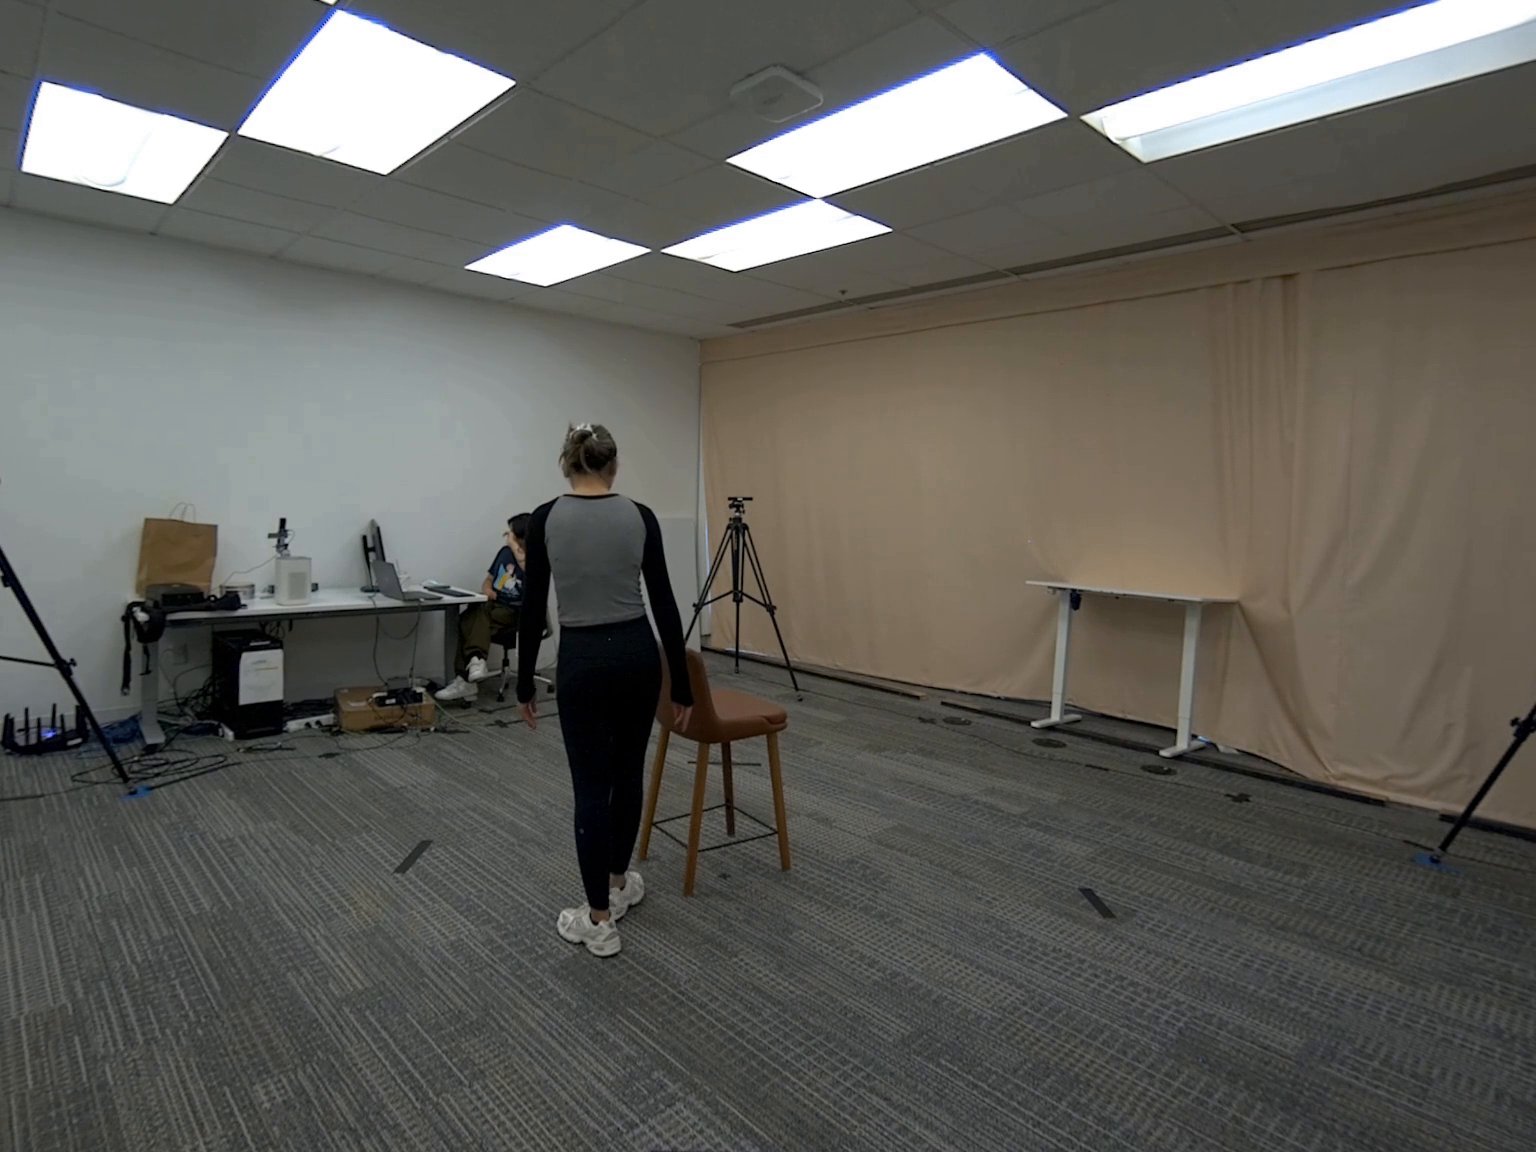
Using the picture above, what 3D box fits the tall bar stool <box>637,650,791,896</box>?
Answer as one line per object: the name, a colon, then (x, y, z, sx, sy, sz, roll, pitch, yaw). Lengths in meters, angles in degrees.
tall bar stool: (-0.212, 0.660, 3.182, 0.458, 0.887, 0.467, -4, 6, -35)
